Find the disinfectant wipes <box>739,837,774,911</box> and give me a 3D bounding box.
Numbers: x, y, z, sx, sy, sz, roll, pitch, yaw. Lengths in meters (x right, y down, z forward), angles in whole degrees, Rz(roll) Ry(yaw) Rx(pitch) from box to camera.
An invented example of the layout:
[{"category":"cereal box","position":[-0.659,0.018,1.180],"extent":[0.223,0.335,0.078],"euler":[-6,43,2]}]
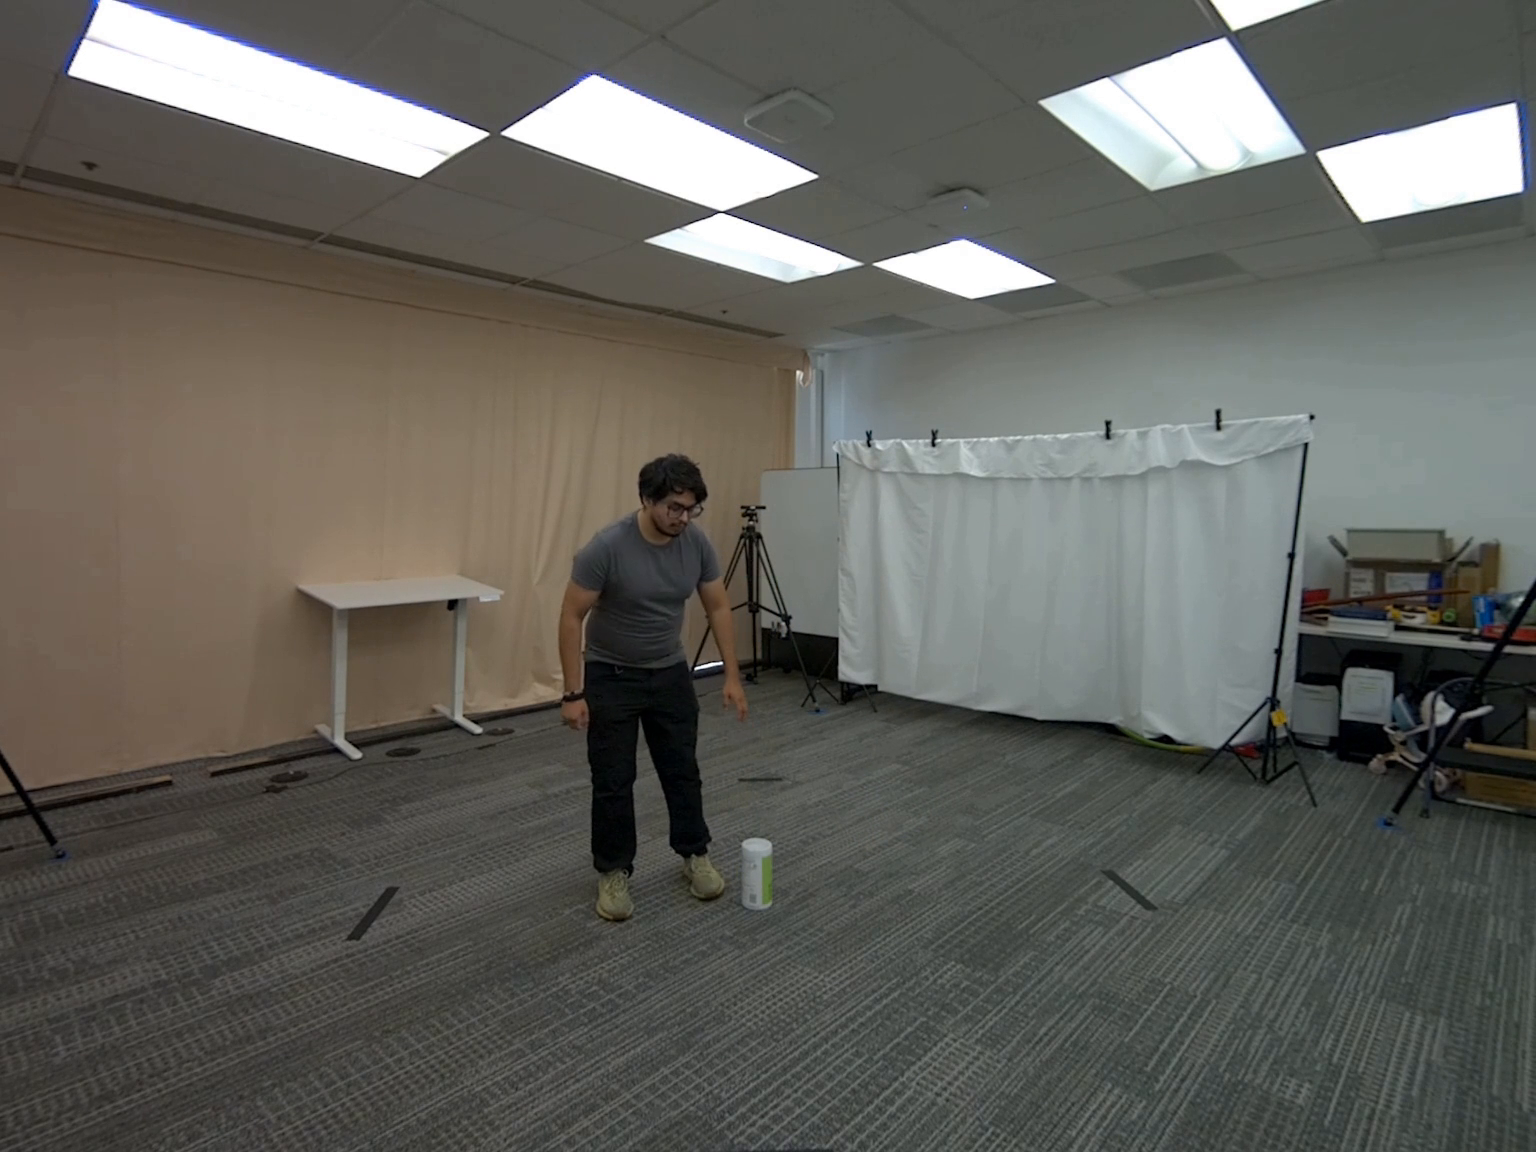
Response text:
[{"category":"disinfectant wipes","position":[-0.033,1.041,2.931],"extent":[0.117,0.217,0.118],"euler":[2,3,-2]}]
